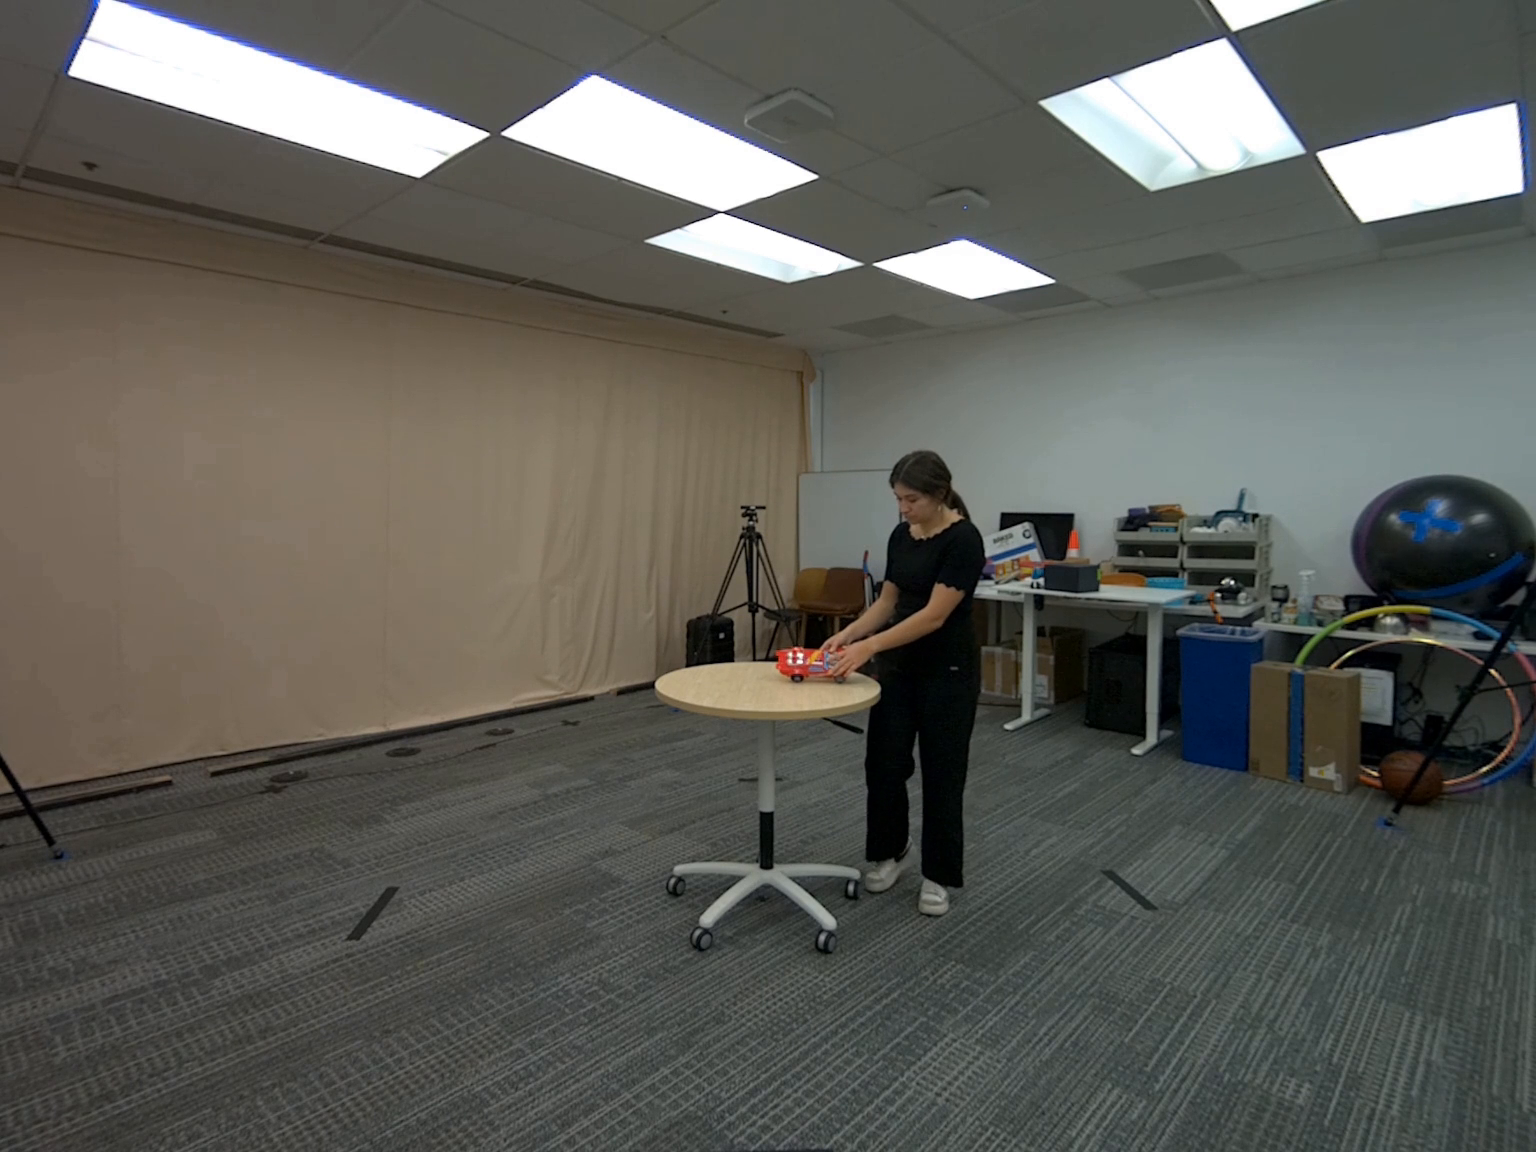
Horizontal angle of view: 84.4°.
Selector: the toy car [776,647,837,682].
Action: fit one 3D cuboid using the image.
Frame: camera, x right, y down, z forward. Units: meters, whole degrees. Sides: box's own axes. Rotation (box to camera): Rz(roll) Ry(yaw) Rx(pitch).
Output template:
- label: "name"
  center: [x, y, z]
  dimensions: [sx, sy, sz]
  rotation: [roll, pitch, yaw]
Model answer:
- label: "toy car"
  center: [0.156, 0.304, 2.921]
  dimensions: [0.253, 0.133, 0.082]
  rotation: [5, -40, -6]
